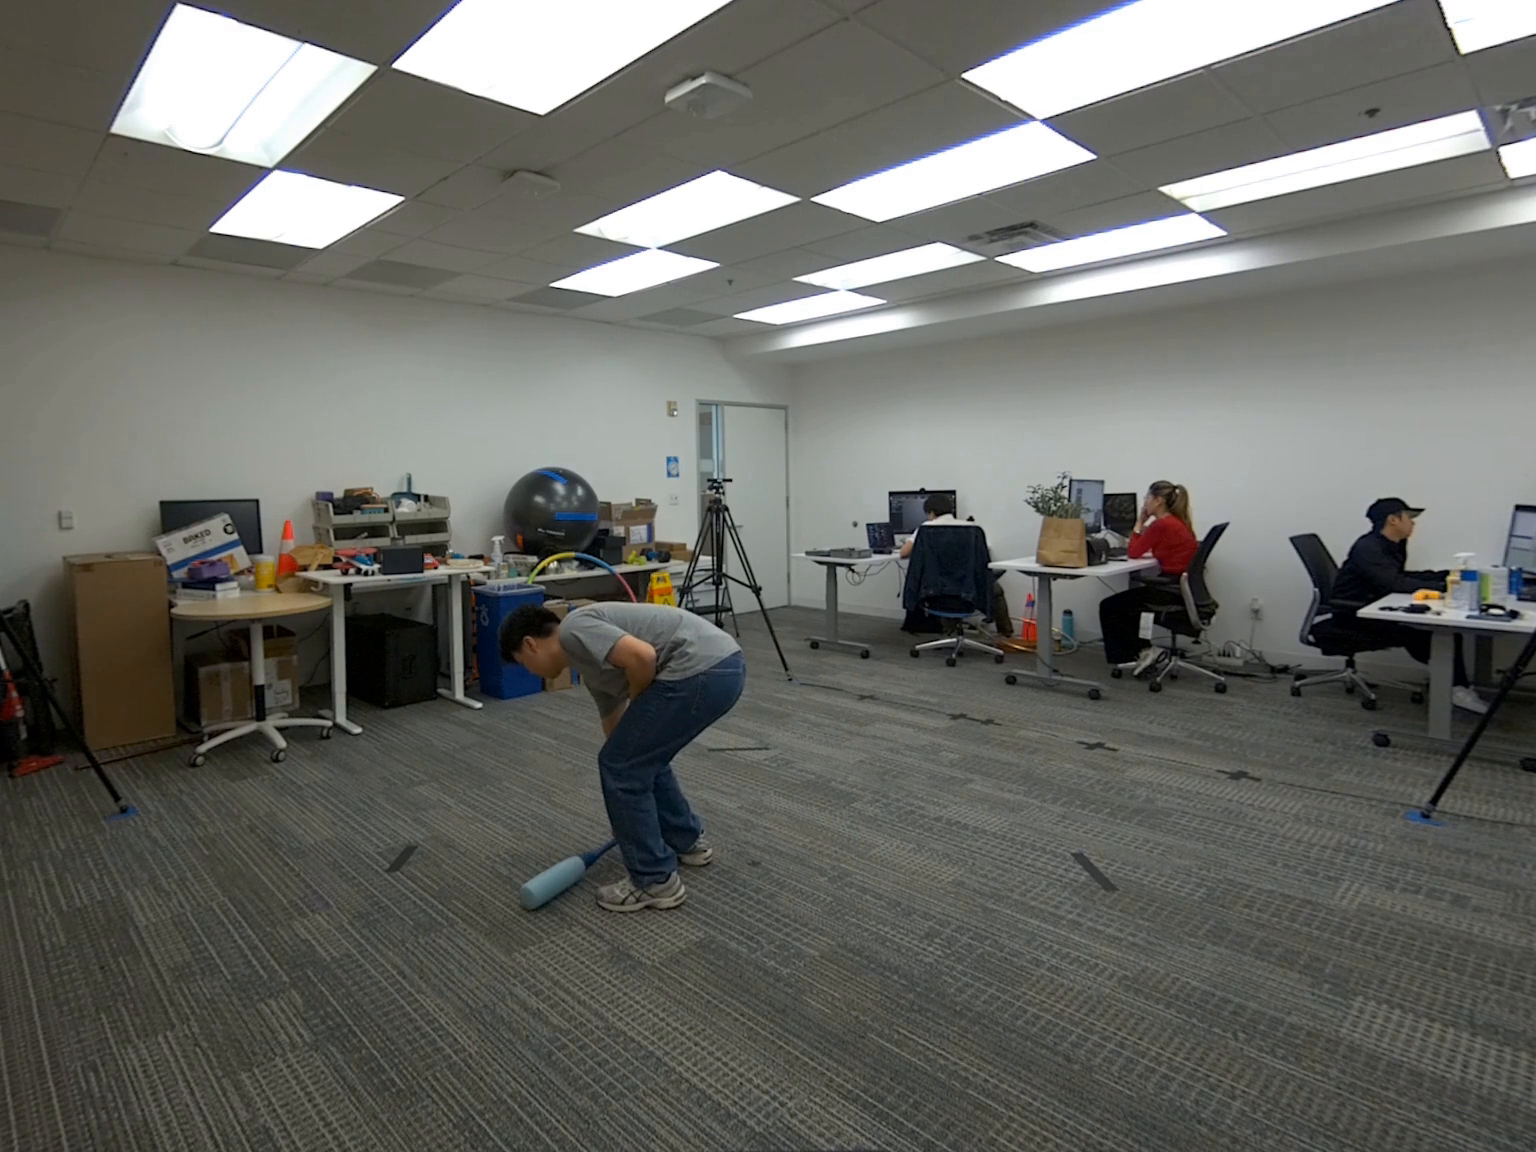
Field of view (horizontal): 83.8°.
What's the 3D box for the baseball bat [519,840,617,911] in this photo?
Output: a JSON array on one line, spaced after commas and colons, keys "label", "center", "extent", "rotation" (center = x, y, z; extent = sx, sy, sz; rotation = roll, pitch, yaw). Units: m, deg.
[{"label": "baseball bat", "center": [-0.661, 1.007, 3.012], "extent": [0.091, 0.088, 0.533], "rotation": [2, 9, 28]}]
